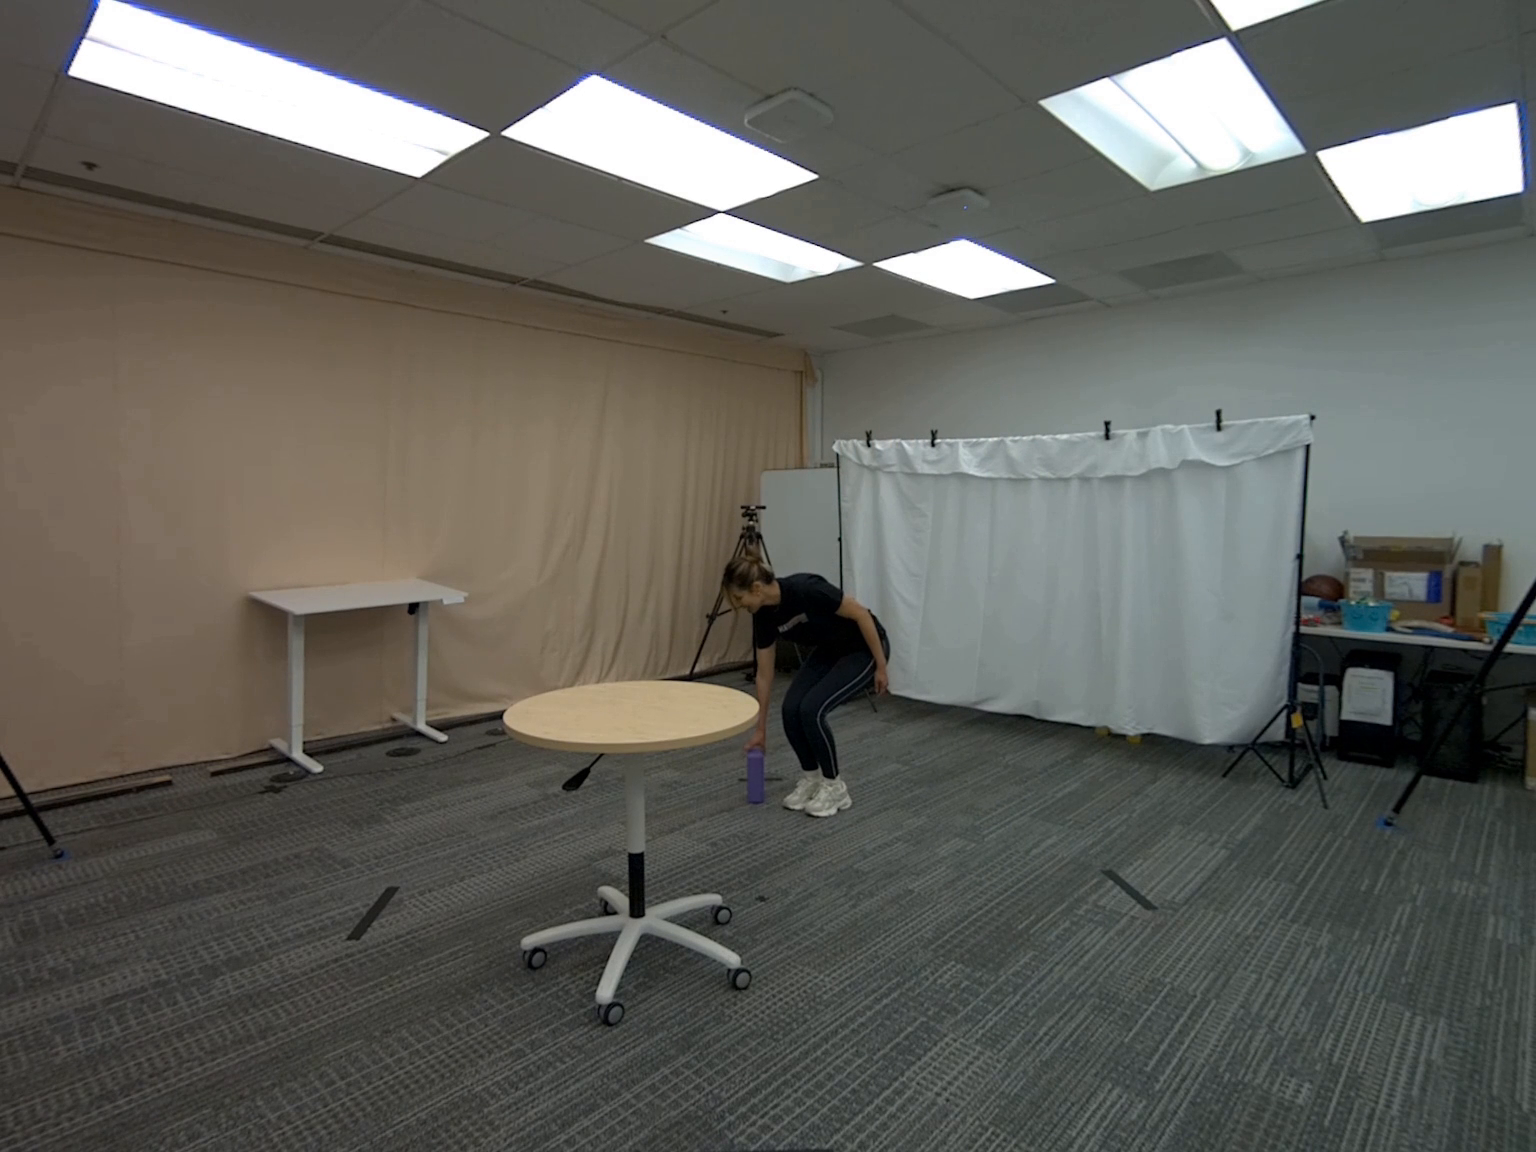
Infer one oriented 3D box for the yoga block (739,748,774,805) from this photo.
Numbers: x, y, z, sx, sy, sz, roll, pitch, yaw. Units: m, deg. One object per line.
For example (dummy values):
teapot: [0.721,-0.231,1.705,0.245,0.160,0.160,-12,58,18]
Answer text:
yoga block: [-0.058,0.948,4.017,0.076,0.229,0.148,-2,0,1]
